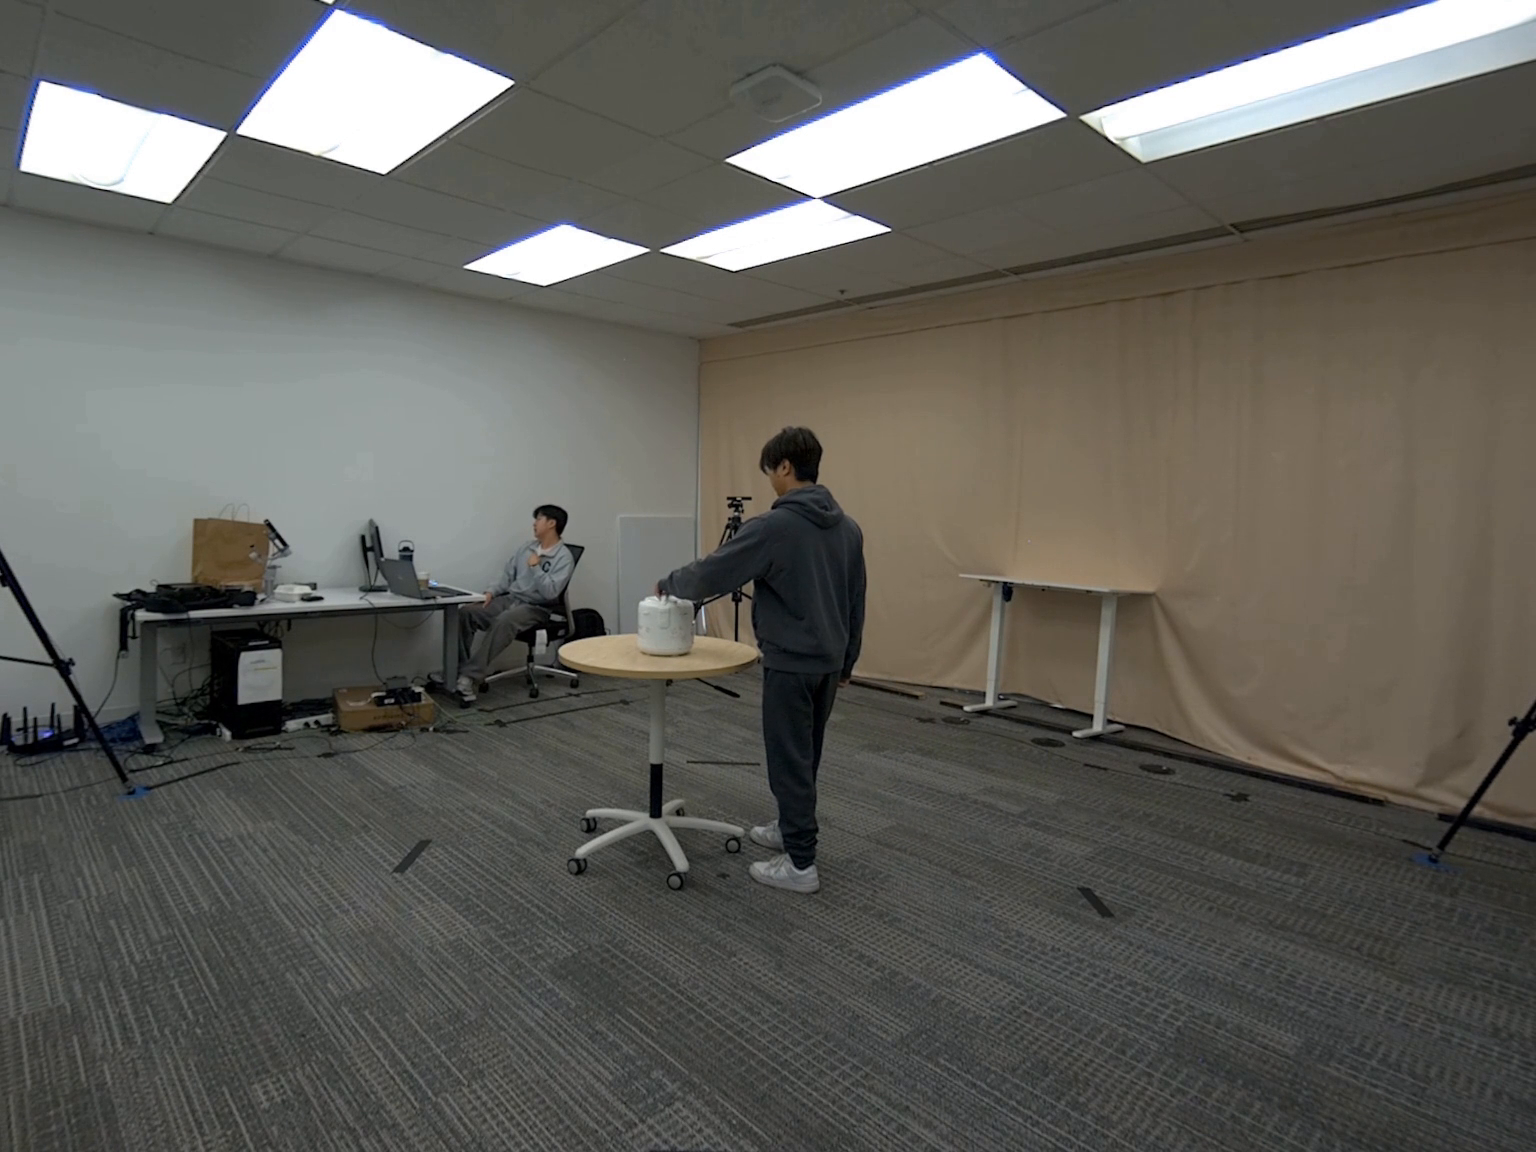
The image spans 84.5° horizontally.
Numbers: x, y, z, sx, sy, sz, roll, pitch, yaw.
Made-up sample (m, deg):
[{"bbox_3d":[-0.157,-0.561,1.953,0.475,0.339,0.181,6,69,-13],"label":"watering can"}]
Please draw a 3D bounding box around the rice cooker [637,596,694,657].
[{"bbox_3d":[-0.390,0.176,3.216,0.217,0.232,0.221,0,5,0],"label":"rice cooker"}]
